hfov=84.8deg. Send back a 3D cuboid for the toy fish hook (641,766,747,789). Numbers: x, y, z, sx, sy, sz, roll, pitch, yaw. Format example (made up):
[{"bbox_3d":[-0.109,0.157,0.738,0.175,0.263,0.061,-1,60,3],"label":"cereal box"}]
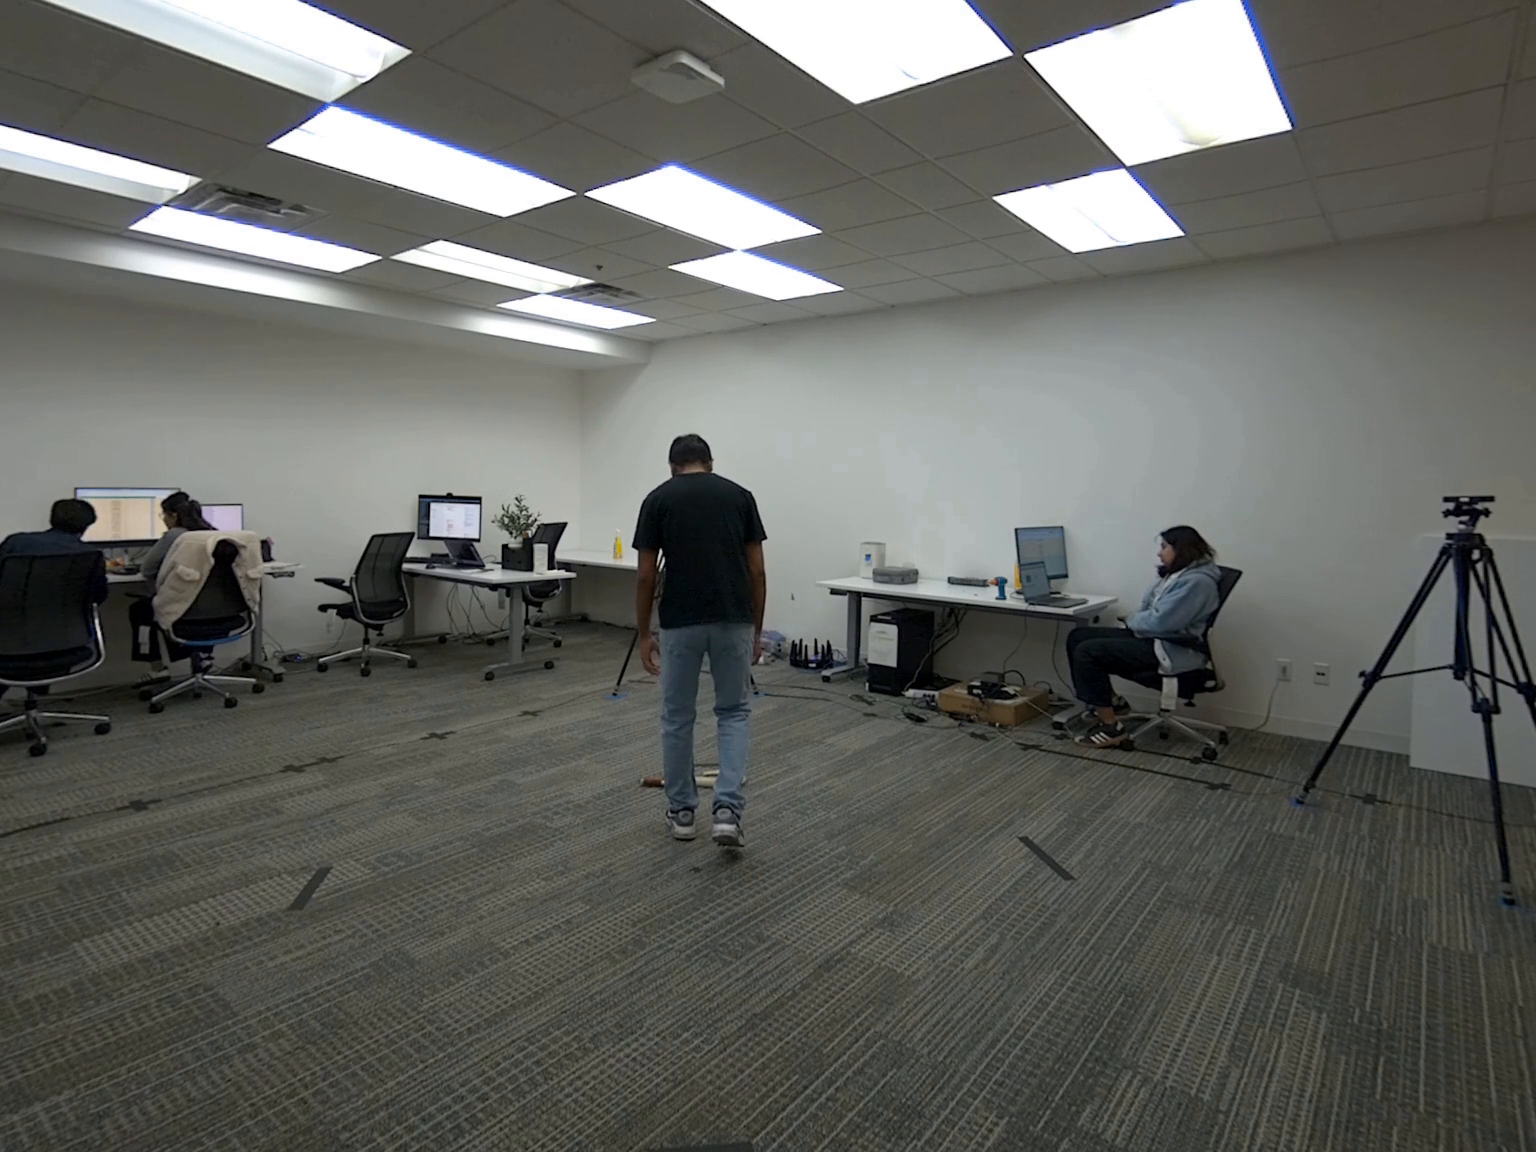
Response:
[{"bbox_3d":[-0.375,0.960,4.047,0.503,0.048,0.225,1,-2,-7],"label":"toy fish hook"}]
